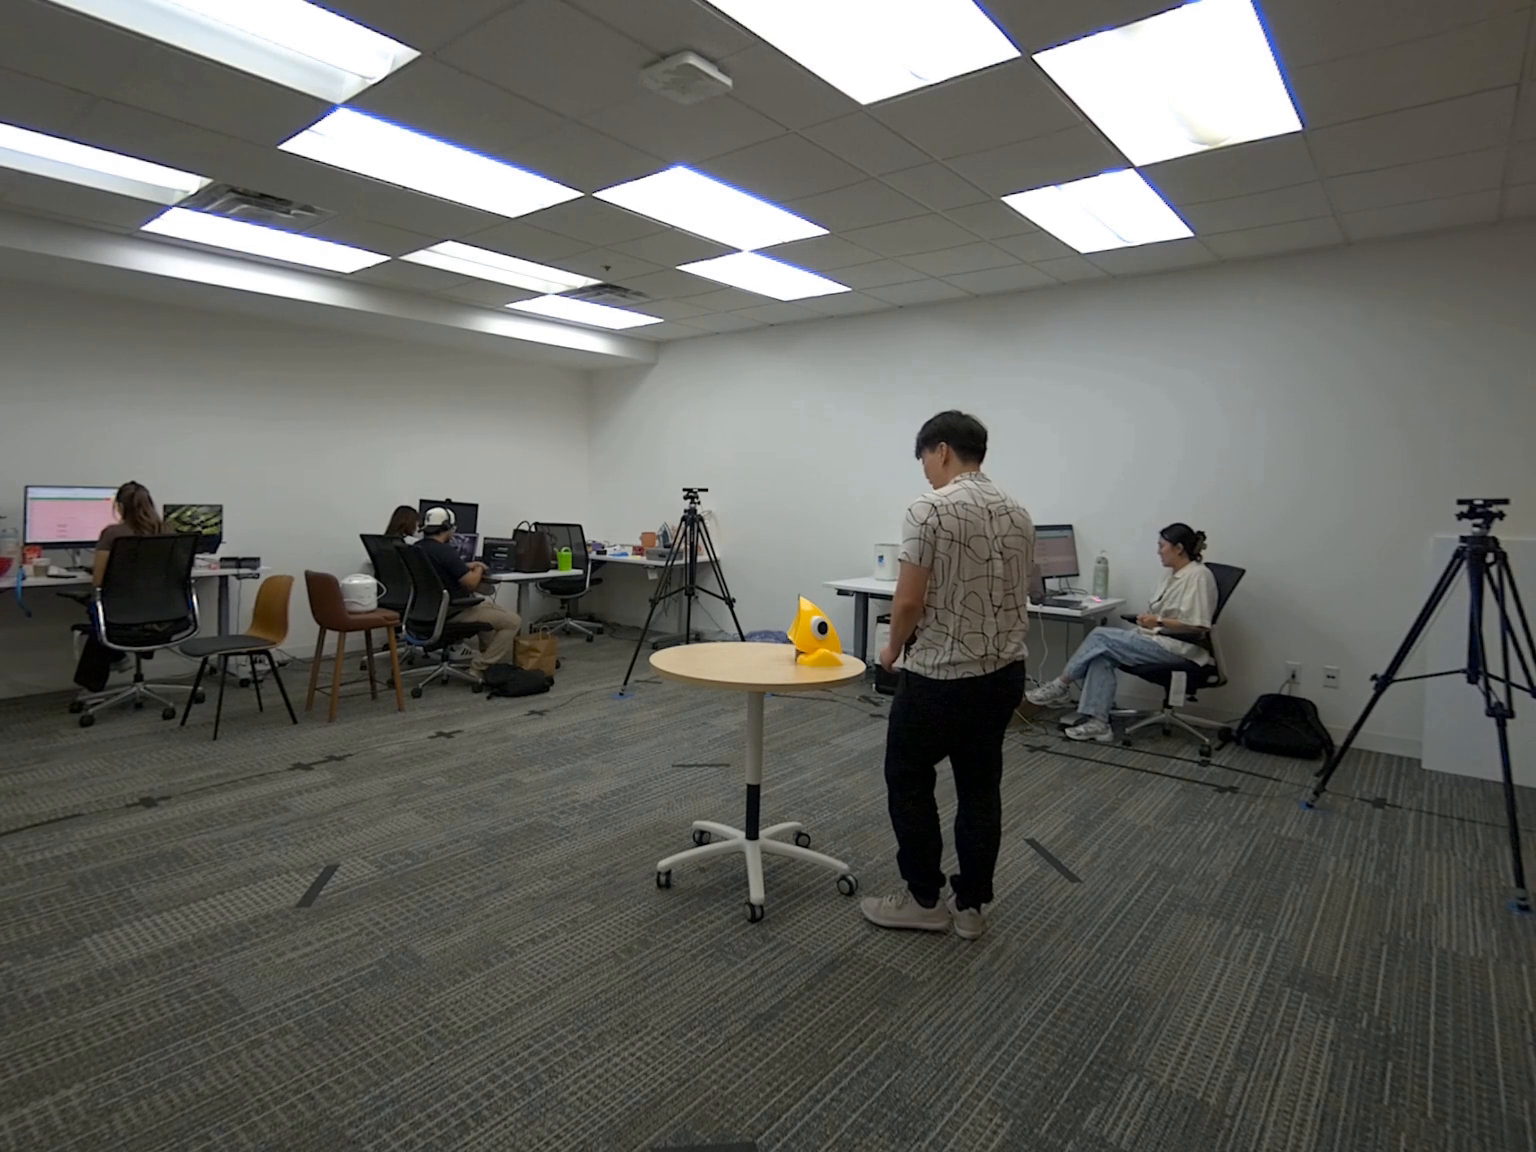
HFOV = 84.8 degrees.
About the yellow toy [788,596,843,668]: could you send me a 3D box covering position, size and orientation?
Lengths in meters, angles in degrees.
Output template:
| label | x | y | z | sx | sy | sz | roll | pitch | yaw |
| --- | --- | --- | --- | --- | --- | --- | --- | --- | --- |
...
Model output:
| label | x | y | z | sx | sy | sz | roll | pitch | yaw |
| --- | --- | --- | --- | --- | --- | --- | --- | --- | --- |
| yellow toy | 0.161 | 0.186 | 3.043 | 0.192 | 0.230 | 0.206 | -1 | 4 | -4 |
